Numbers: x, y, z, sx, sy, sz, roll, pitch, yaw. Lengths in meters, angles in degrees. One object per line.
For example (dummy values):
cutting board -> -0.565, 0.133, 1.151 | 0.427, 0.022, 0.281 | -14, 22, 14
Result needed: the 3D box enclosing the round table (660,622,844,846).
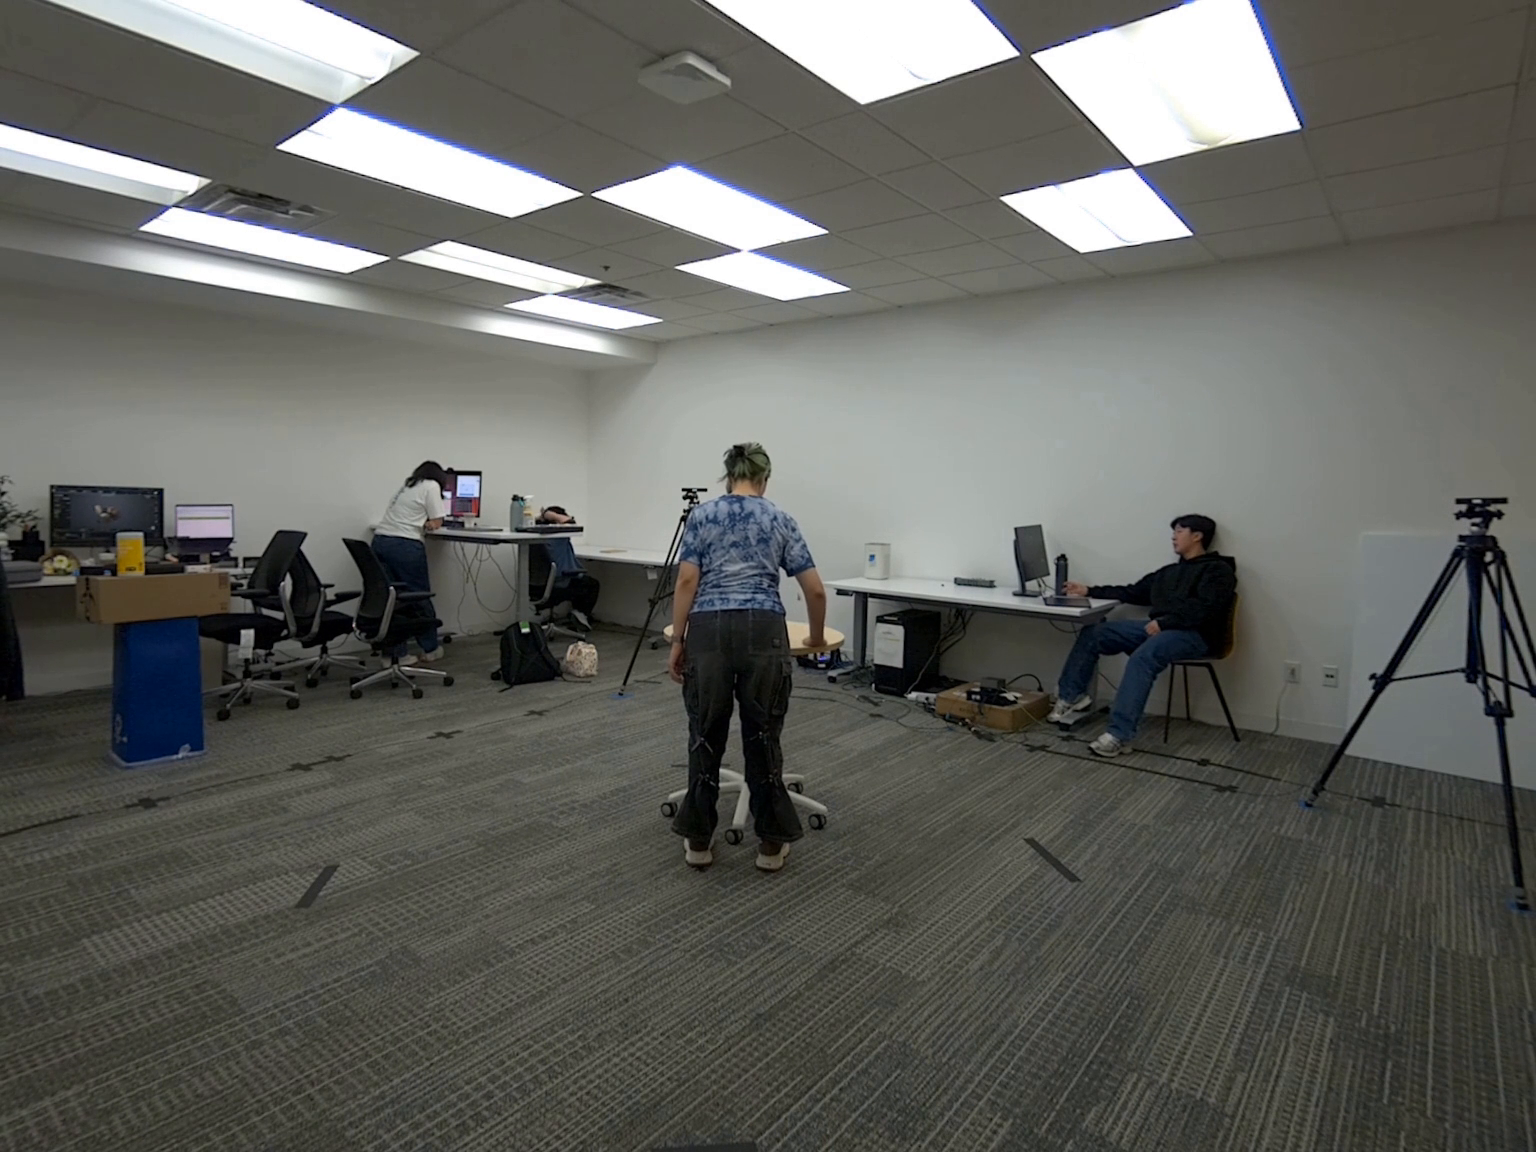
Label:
round table -> -0.069, 0.625, 3.627 | 0.784, 0.784, 0.789 | 1, 4, -2
